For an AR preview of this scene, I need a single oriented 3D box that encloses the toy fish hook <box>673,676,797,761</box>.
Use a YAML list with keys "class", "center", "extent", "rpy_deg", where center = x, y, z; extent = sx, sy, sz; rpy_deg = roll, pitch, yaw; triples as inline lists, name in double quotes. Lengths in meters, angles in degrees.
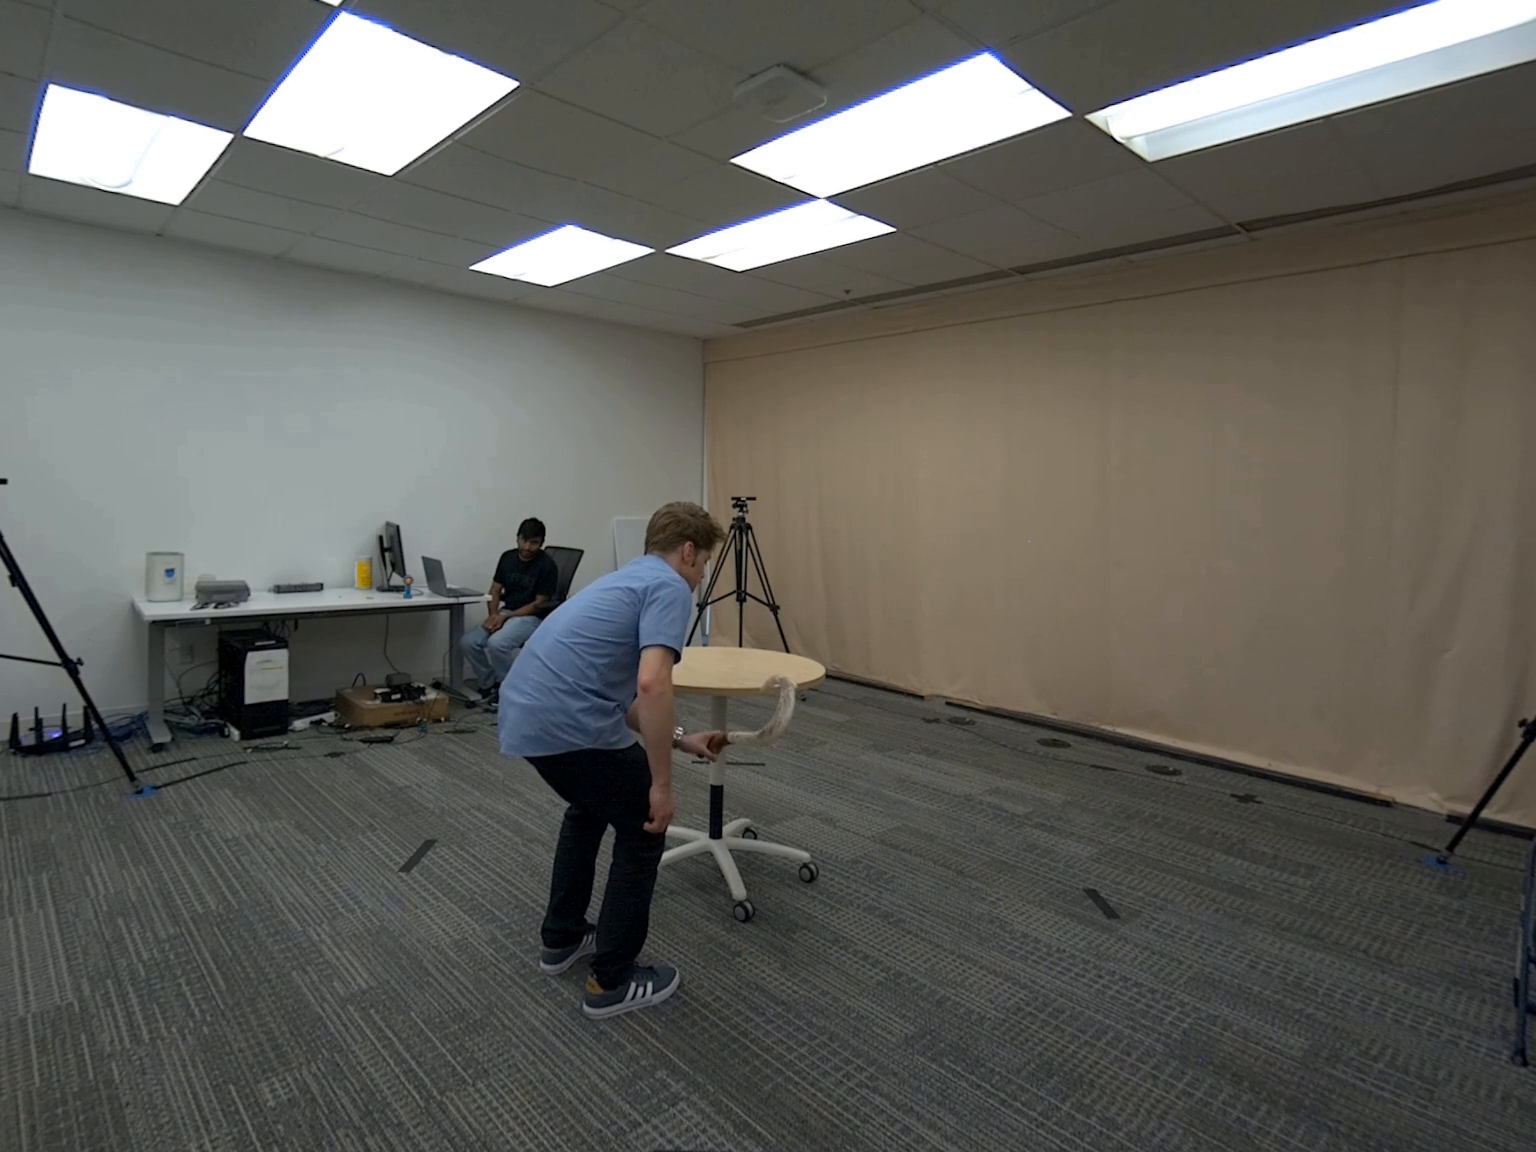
- class: "toy fish hook"
  center: [-0.081, 0.430, 2.547]
  extent: [0.047, 0.227, 0.510]
  rpy_deg: [33, -38, -22]
